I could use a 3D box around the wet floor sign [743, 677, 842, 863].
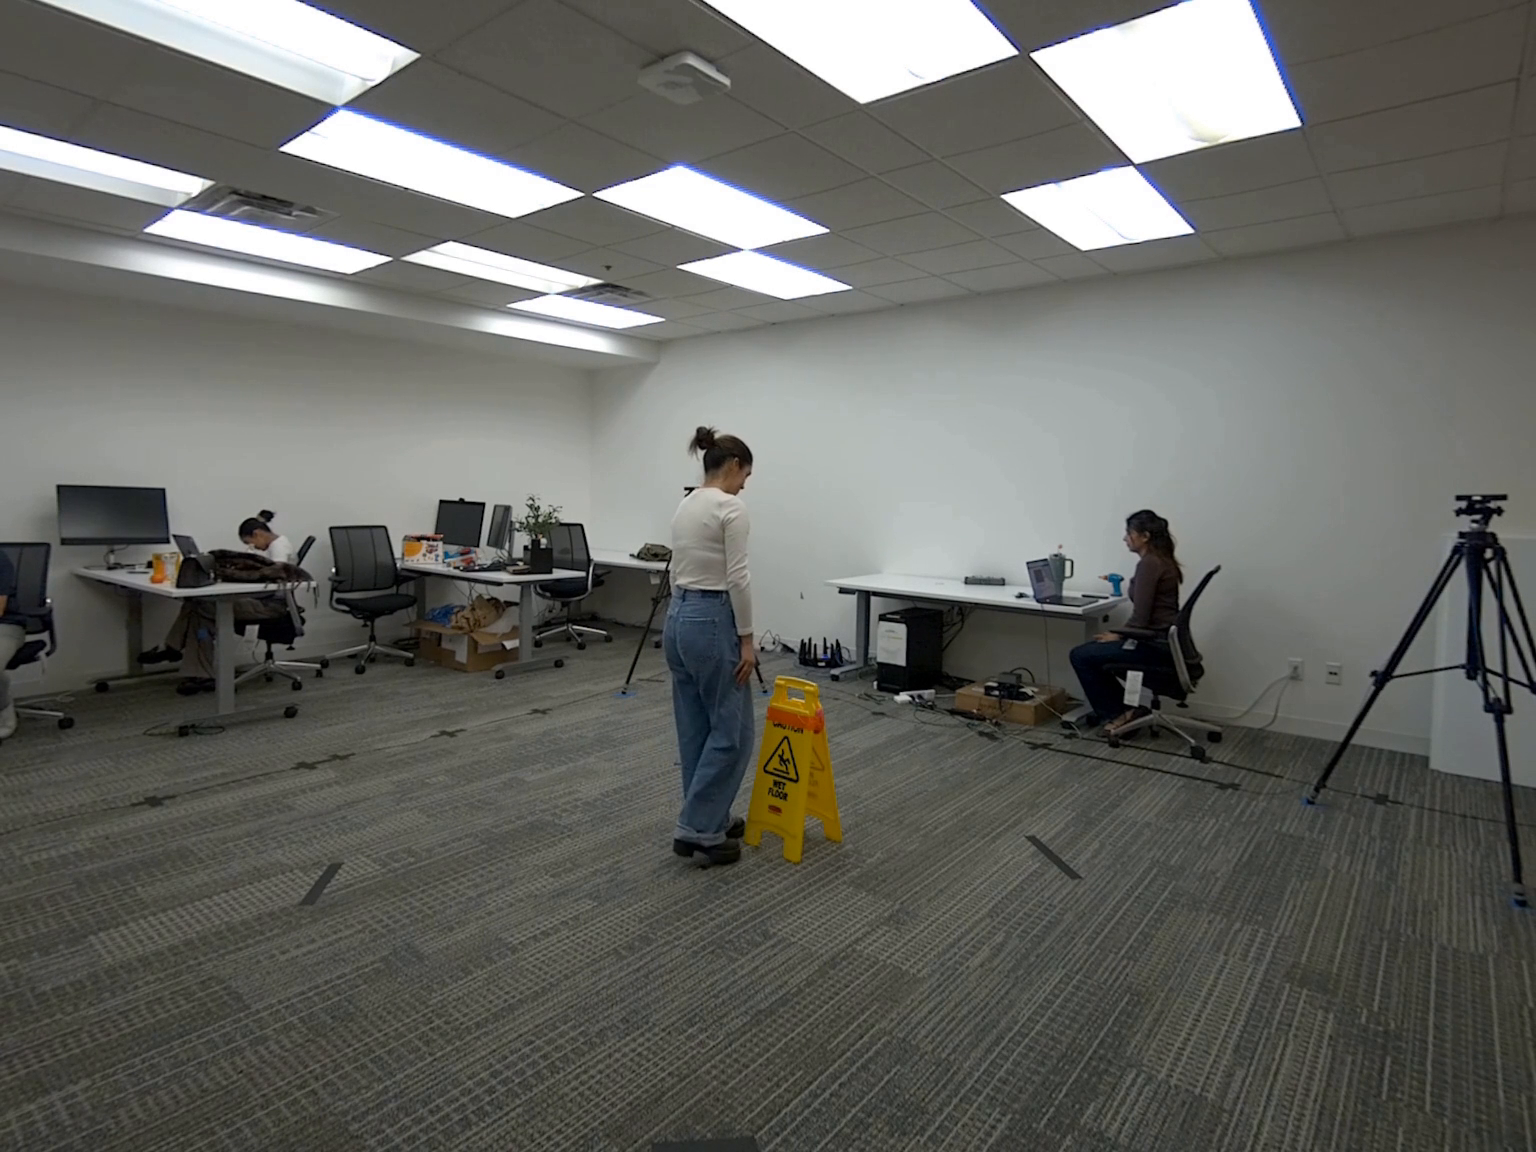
[{"bbox_3d":[0.096,0.727,3.333,0.292,0.644,0.281,4,5,41],"label":"wet floor sign"}]
